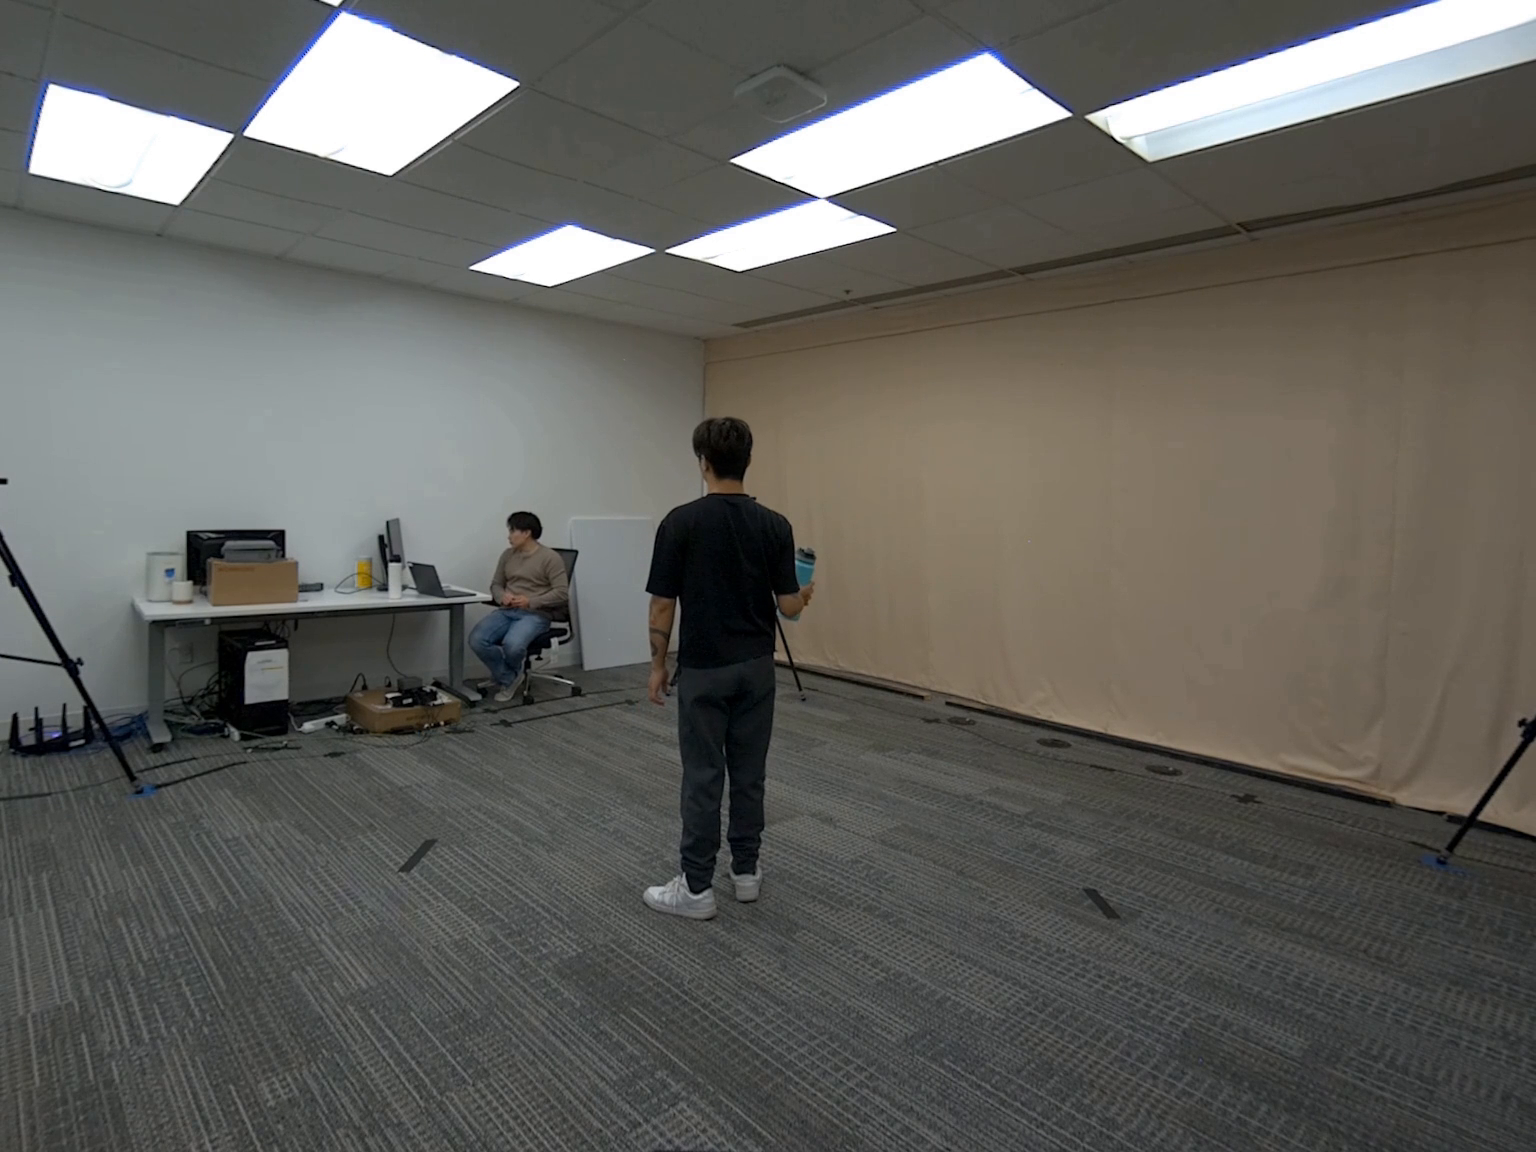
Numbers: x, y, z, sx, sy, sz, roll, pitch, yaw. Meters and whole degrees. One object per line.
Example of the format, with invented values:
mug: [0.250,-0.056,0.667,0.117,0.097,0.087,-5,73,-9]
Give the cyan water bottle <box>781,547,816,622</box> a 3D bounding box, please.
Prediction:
cyan water bottle: [0.107,0.025,3.225,0.092,0.282,0.093,14,7,-3]
